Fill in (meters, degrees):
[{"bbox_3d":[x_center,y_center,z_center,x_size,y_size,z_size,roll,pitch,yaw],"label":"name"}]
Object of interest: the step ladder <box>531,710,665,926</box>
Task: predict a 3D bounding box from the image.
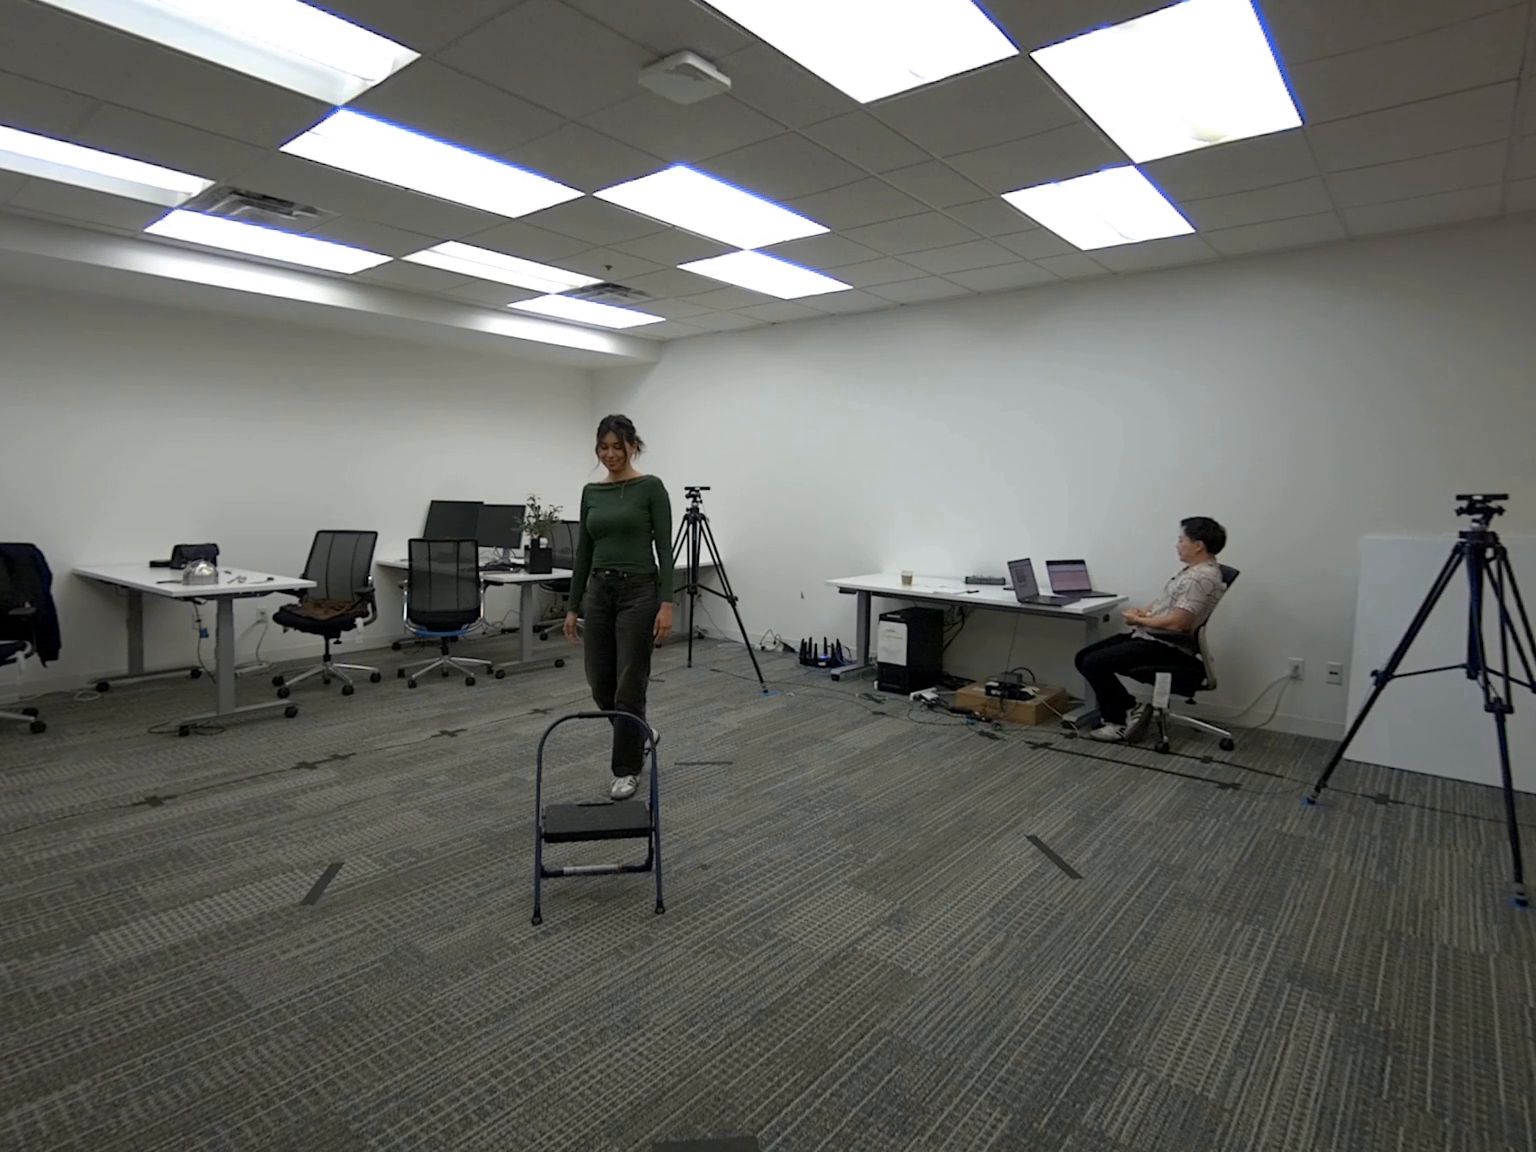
[{"bbox_3d":[-0.586,0.781,2.891,0.425,0.604,0.355,0,3,-13],"label":"step ladder"}]
